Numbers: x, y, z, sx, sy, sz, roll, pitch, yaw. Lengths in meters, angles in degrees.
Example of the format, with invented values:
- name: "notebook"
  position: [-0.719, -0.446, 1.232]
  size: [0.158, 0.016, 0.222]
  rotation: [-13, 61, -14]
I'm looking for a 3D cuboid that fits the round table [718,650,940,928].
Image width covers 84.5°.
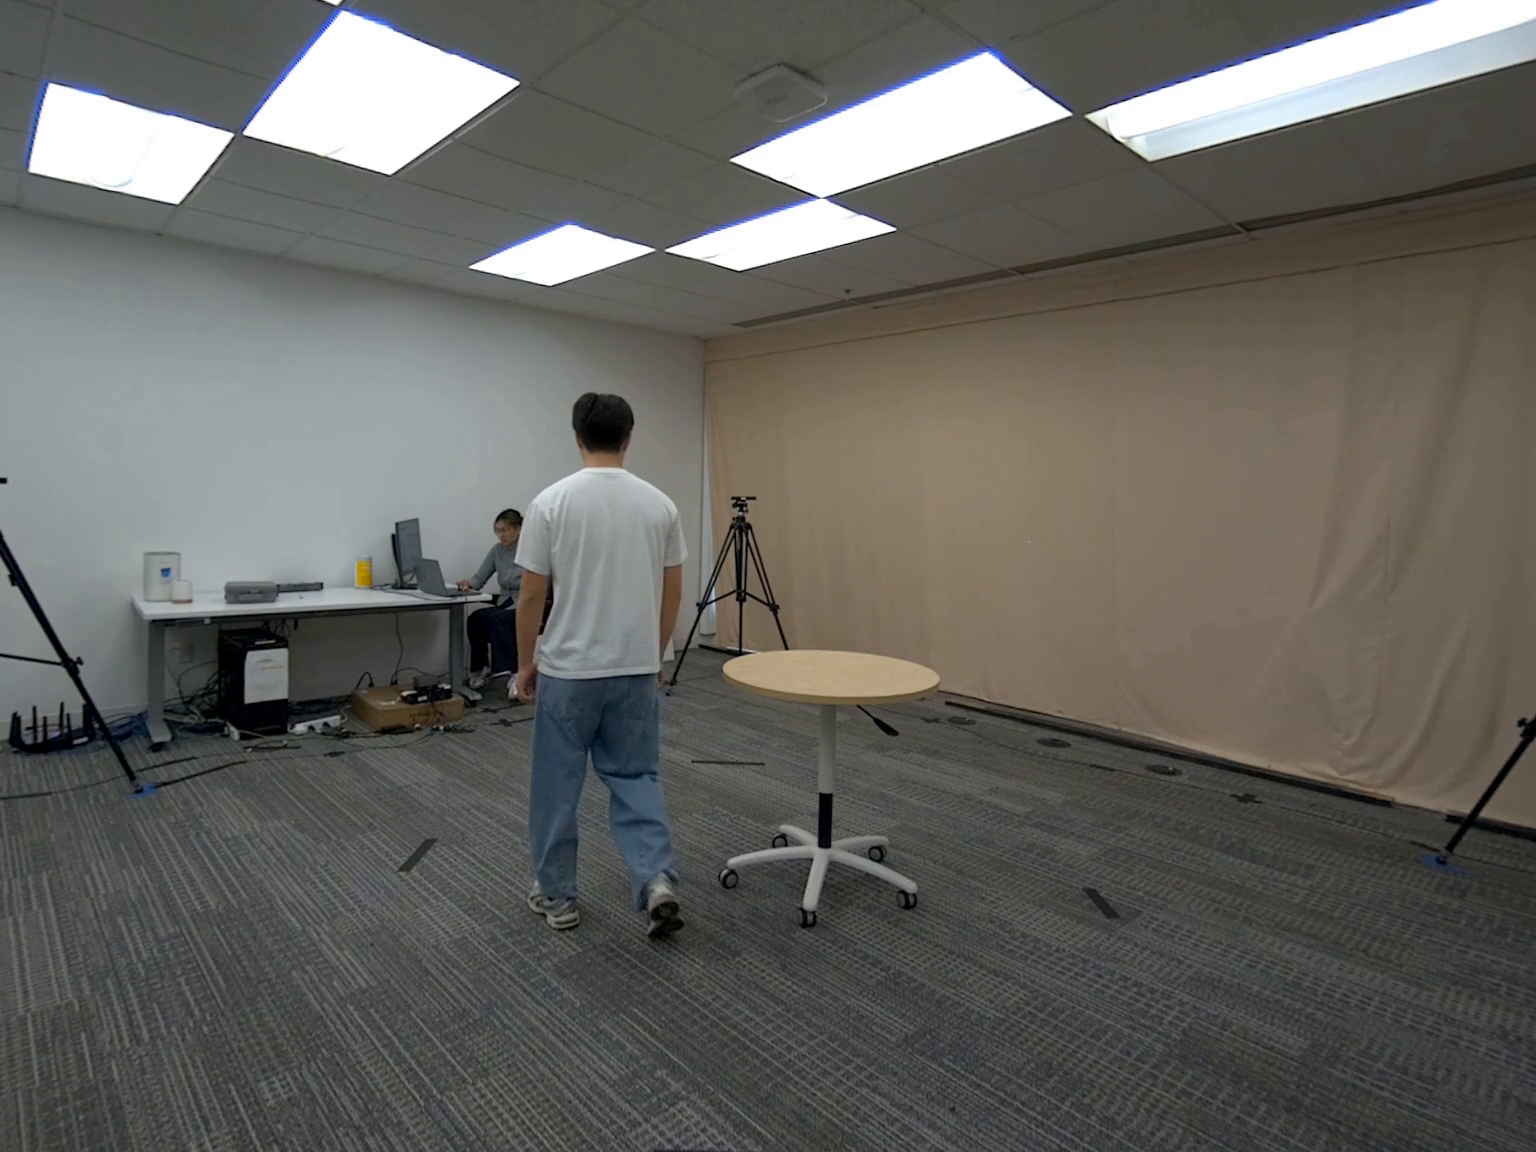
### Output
- name: "round table"
  position: [0.200, 0.732, 3.030]
  size: [0.763, 0.792, 0.767]
  rotation: [1, 4, -1]
